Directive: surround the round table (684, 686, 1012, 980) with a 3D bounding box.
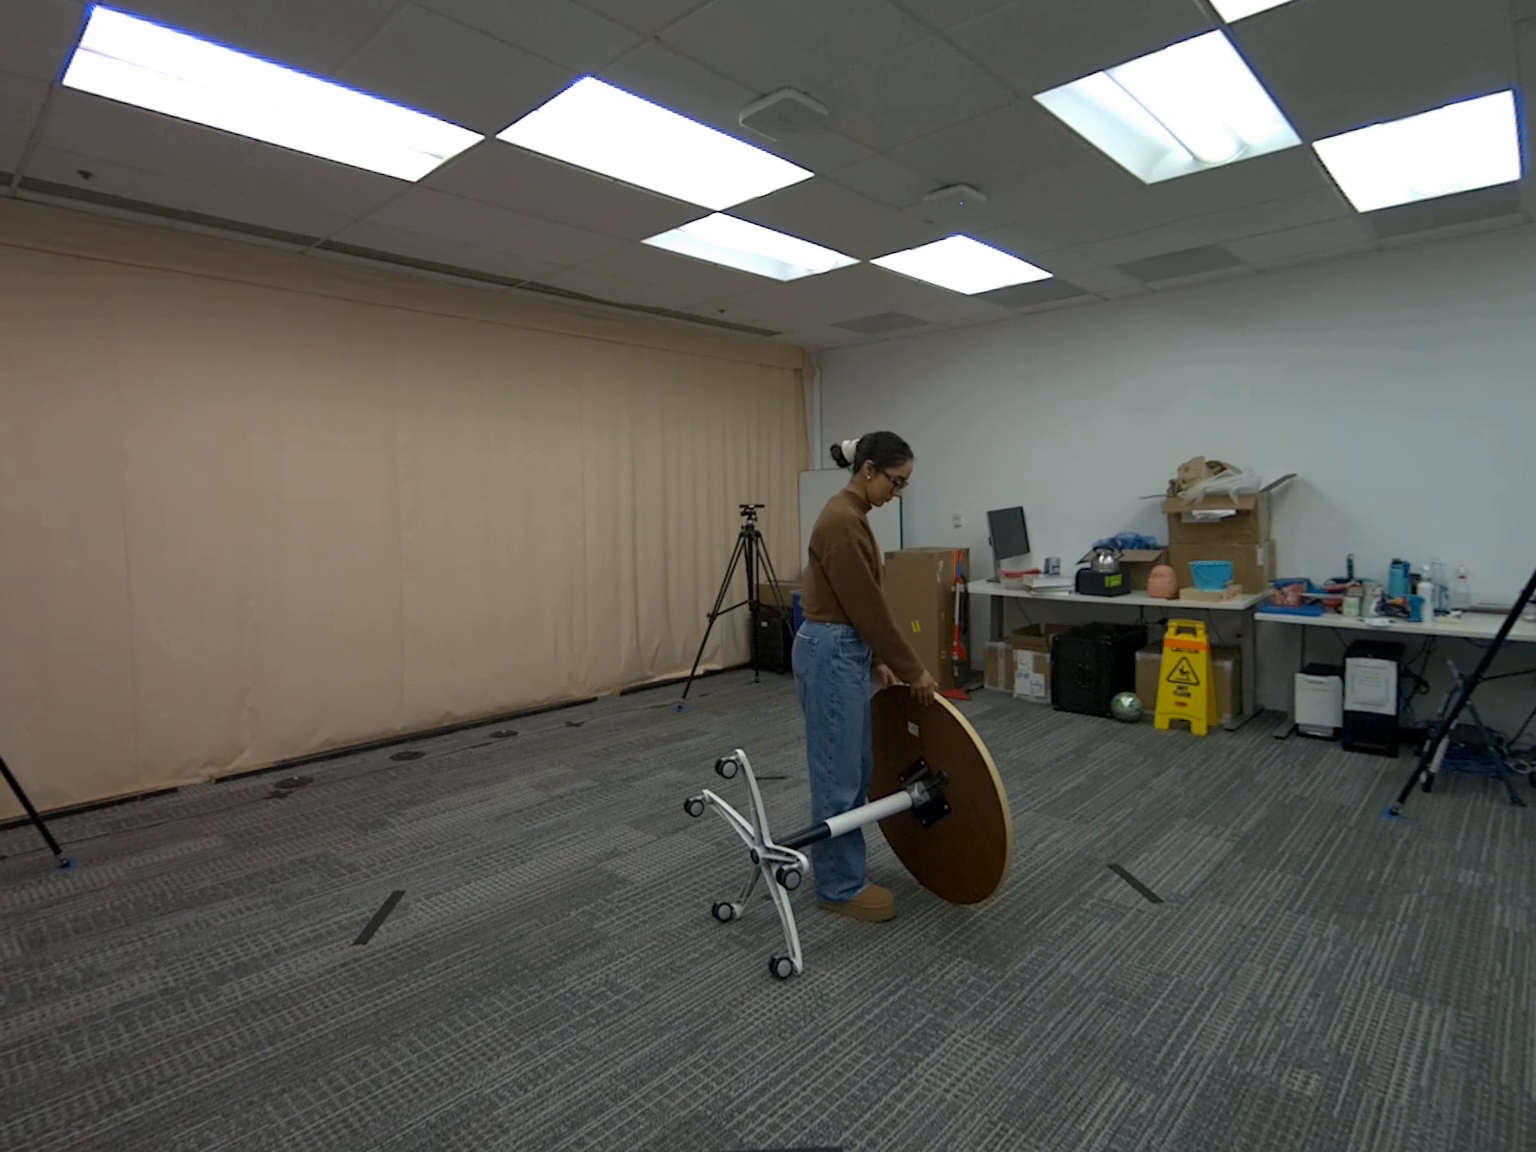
[{"bbox_3d":[0.234,0.820,2.771,0.776,0.760,0.785,-12,8,-27],"label":"round table"}]
